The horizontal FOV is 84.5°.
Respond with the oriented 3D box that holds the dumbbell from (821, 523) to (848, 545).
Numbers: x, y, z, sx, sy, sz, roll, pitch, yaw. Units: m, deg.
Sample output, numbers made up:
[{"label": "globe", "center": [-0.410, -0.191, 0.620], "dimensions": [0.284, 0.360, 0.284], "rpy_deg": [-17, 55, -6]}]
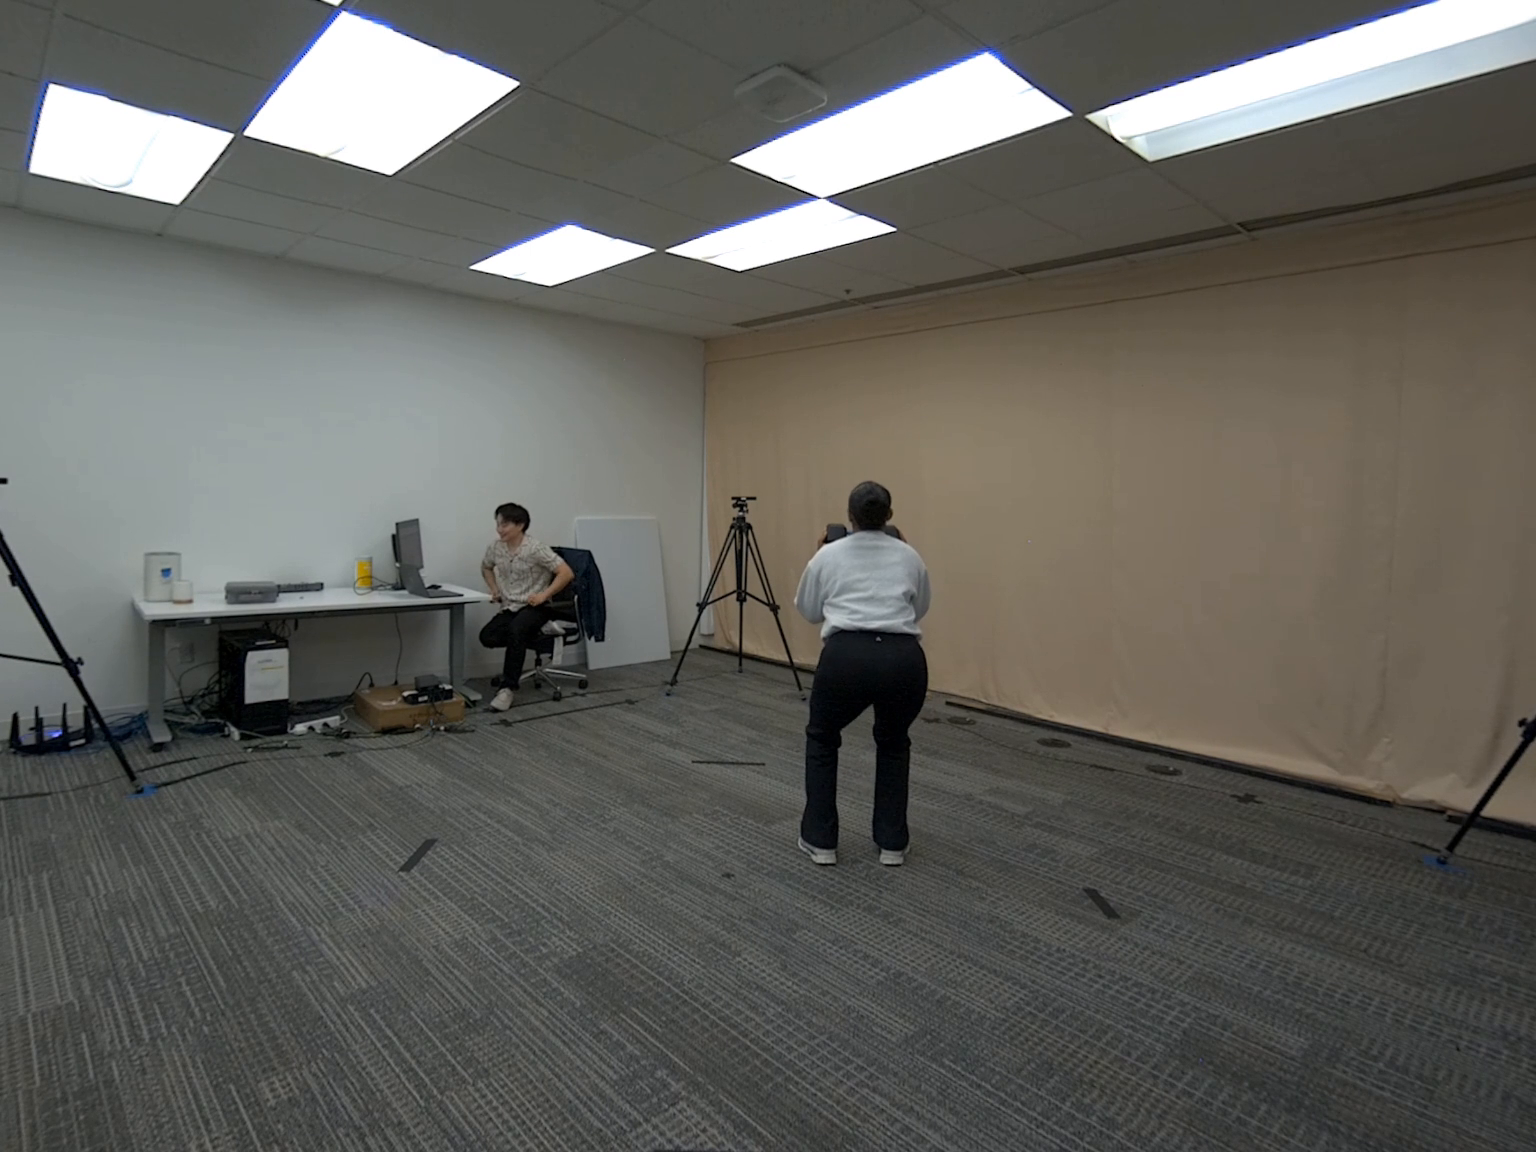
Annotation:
[{"label": "dumbbell", "center": [0.388, -0.149, 3.459], "dimensions": [0.293, 0.120, 0.111], "rpy_deg": [0, 45, 0]}]
